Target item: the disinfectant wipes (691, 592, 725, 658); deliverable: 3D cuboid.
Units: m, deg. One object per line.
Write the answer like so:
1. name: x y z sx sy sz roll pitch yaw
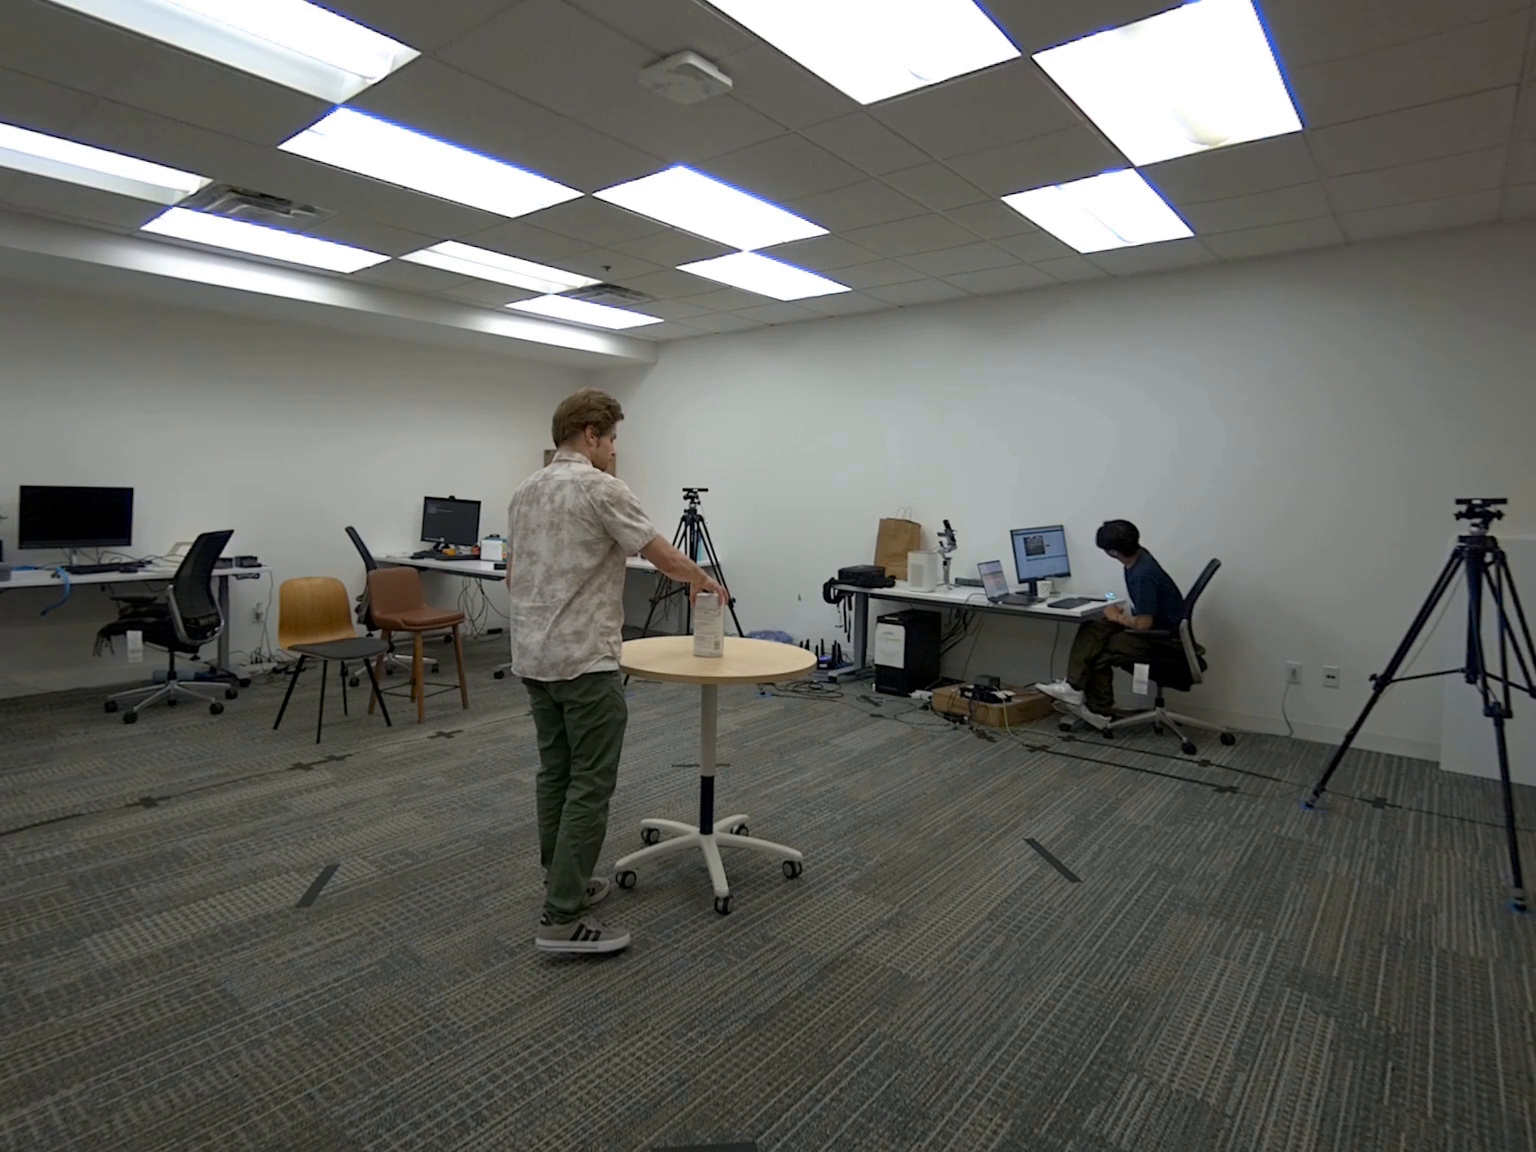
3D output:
1. disinfectant wipes: -0.219 0.177 3.040 0.118 0.217 0.118 1 4 -2
